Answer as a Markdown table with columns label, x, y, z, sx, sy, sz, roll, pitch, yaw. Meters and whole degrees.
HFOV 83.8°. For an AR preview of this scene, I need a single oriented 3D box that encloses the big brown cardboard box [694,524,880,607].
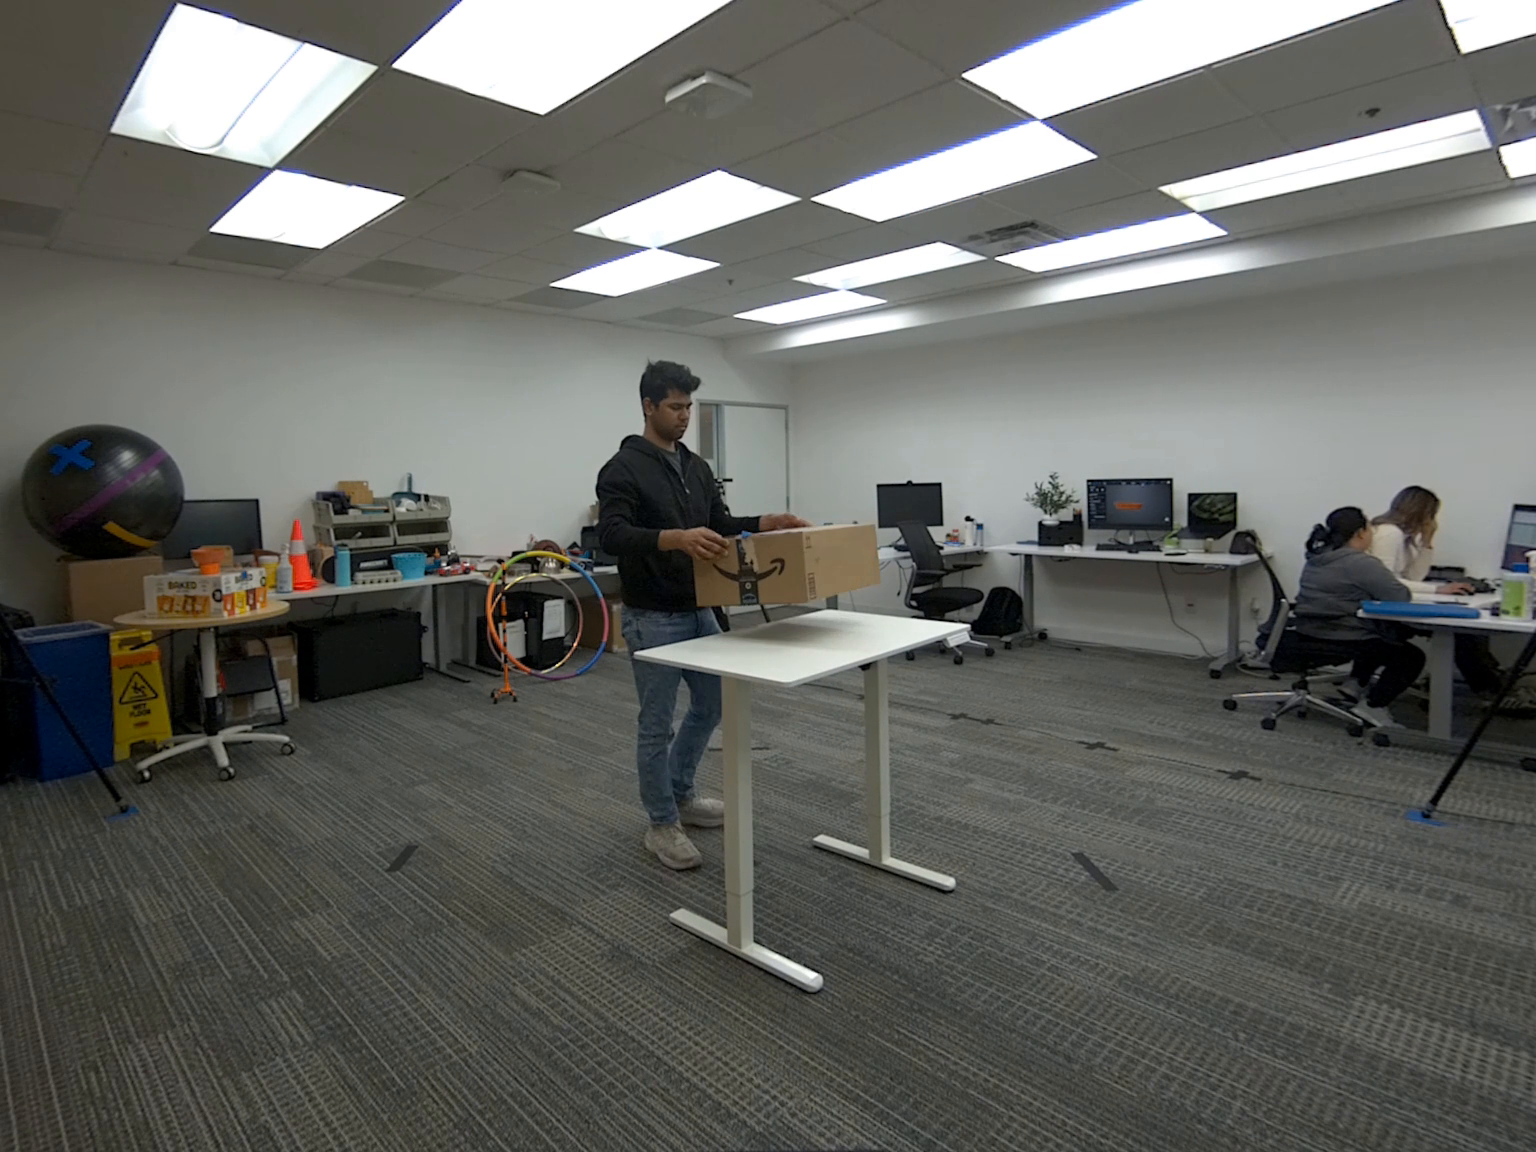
| label | x | y | z | sx | sy | sz | roll | pitch | yaw |
| --- | --- | --- | --- | --- | --- | --- | --- | --- | --- |
| big brown cardboard box | 0.074 | -0.044 | 2.922 | 0.428 | 0.233 | 0.575 | -3 | 4 | 32 |
